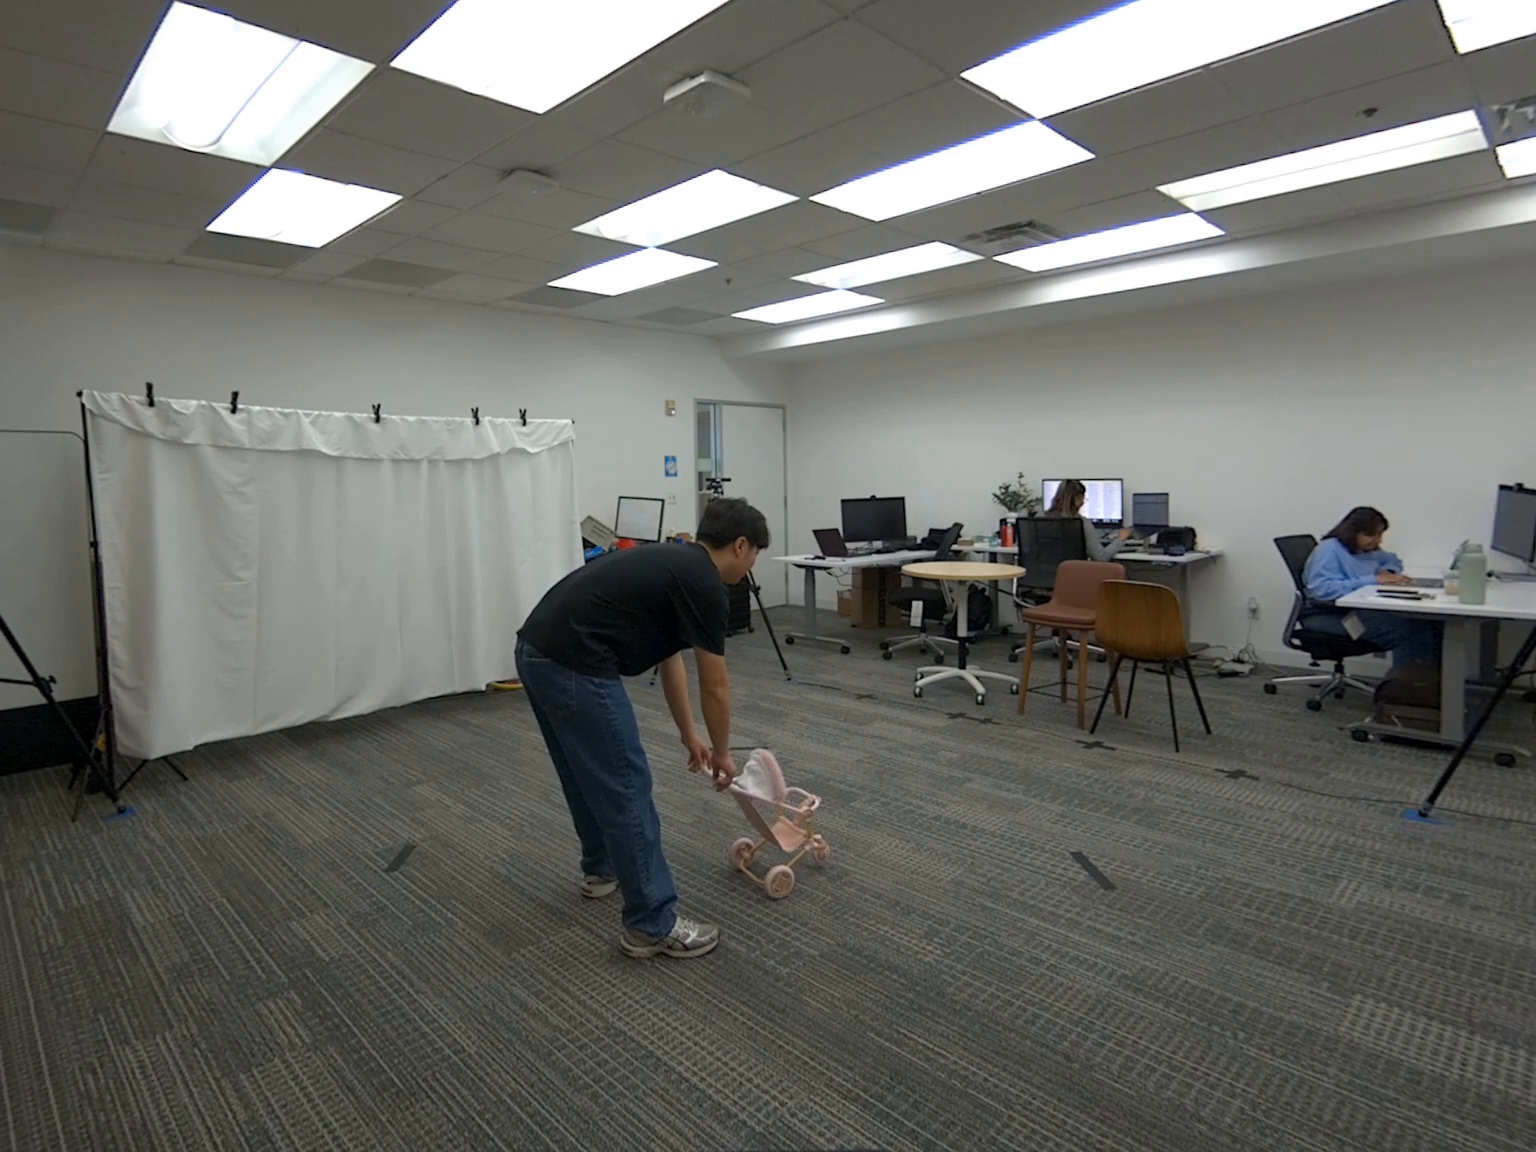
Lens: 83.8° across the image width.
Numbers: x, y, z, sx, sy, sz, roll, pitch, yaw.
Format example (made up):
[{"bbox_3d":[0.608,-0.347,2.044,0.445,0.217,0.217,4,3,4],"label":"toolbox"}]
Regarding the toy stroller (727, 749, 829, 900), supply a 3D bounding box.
[{"bbox_3d":[0.016,0.831,2.961,0.337,0.528,0.288,-23,13,-22],"label":"toy stroller"}]
